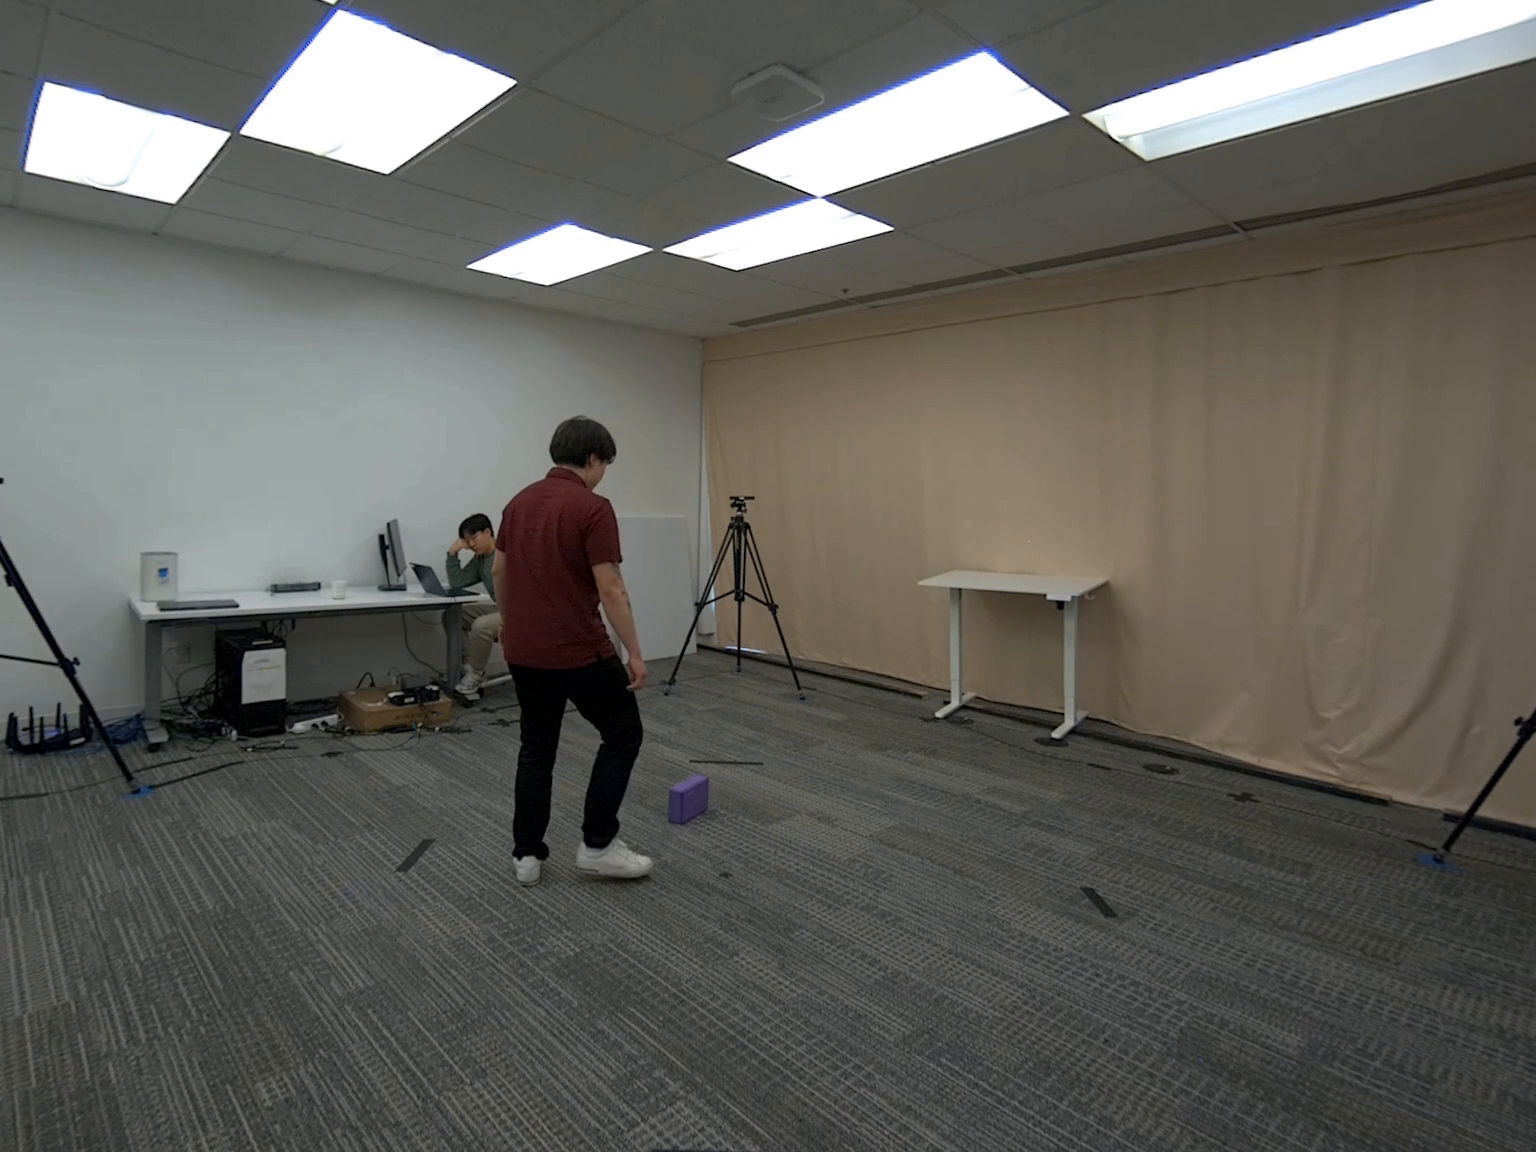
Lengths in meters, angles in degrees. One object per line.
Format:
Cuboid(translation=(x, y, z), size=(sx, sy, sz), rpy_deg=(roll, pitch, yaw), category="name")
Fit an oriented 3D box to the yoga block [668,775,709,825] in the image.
Cuboid(translation=(-0.357, 0.975, 3.681), size=(0.078, 0.148, 0.225), rpy_deg=(4, 5, 26), category="yoga block")
